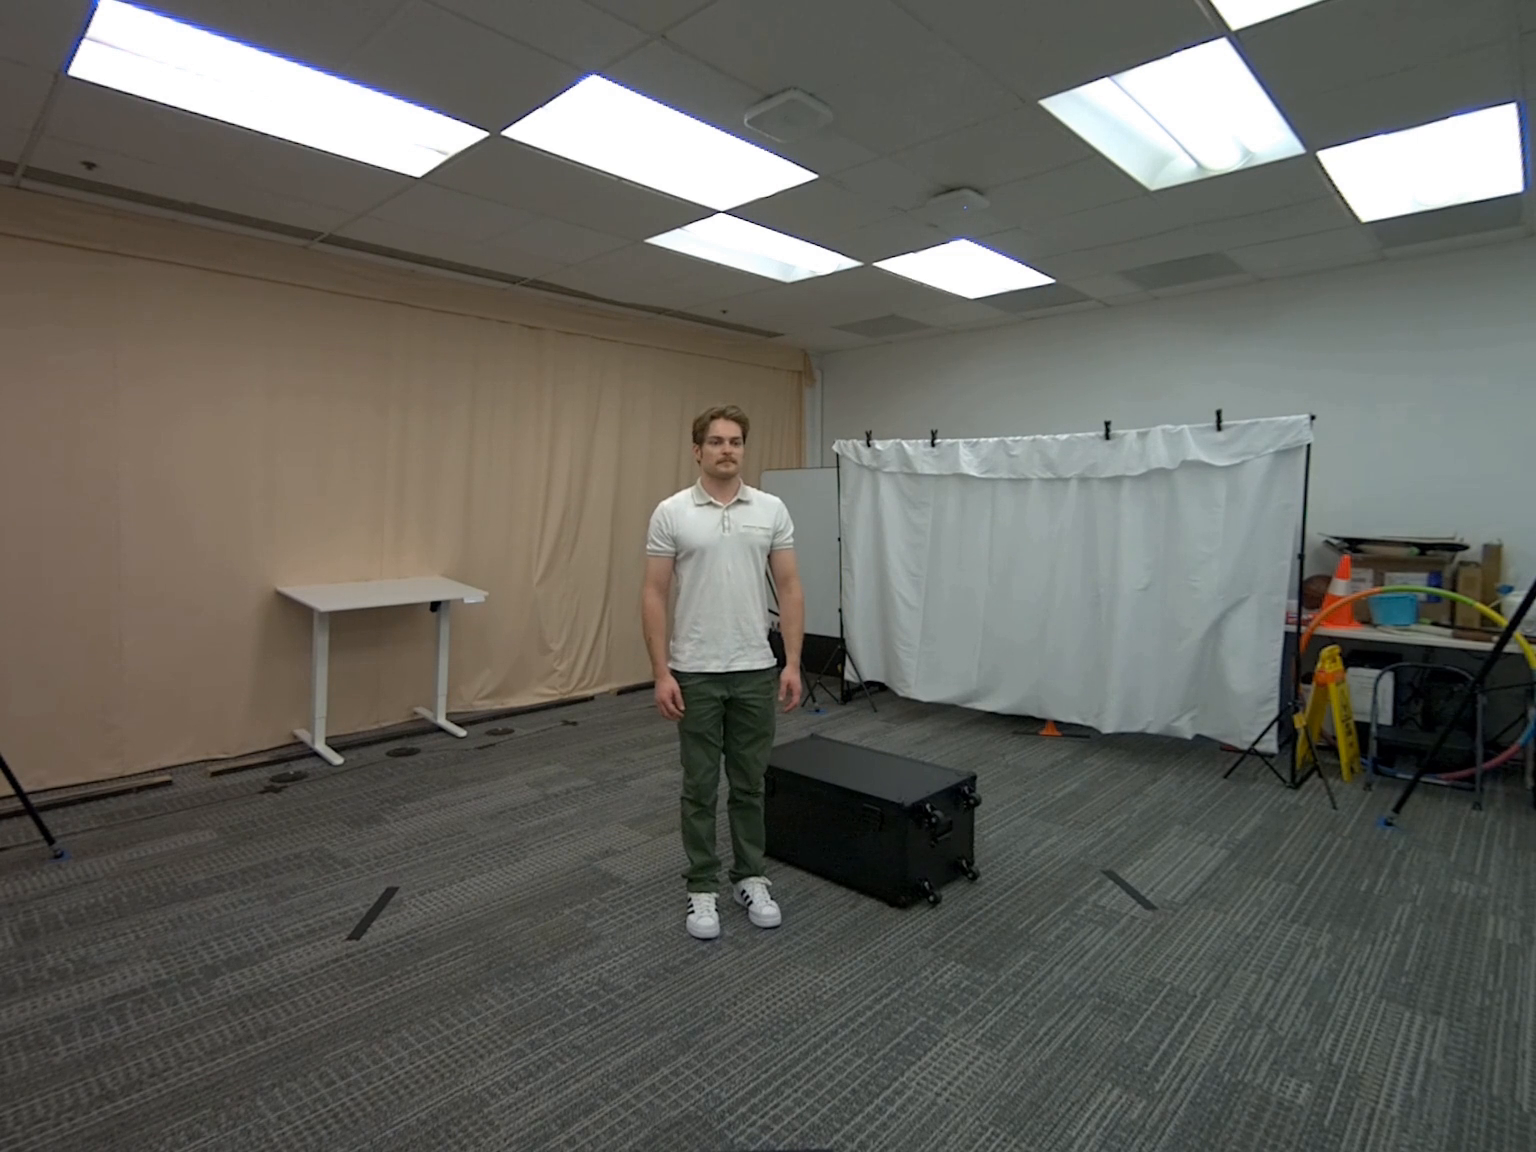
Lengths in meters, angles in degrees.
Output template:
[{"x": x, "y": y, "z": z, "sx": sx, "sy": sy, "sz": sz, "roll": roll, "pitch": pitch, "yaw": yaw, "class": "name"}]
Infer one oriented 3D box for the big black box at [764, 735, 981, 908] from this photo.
[{"x": 0.363, "y": 0.923, "z": 3.275, "sx": 0.898, "sy": 0.384, "sz": 0.507, "roll": 5, "pitch": 5, "yaw": 43, "class": "big black box"}]
